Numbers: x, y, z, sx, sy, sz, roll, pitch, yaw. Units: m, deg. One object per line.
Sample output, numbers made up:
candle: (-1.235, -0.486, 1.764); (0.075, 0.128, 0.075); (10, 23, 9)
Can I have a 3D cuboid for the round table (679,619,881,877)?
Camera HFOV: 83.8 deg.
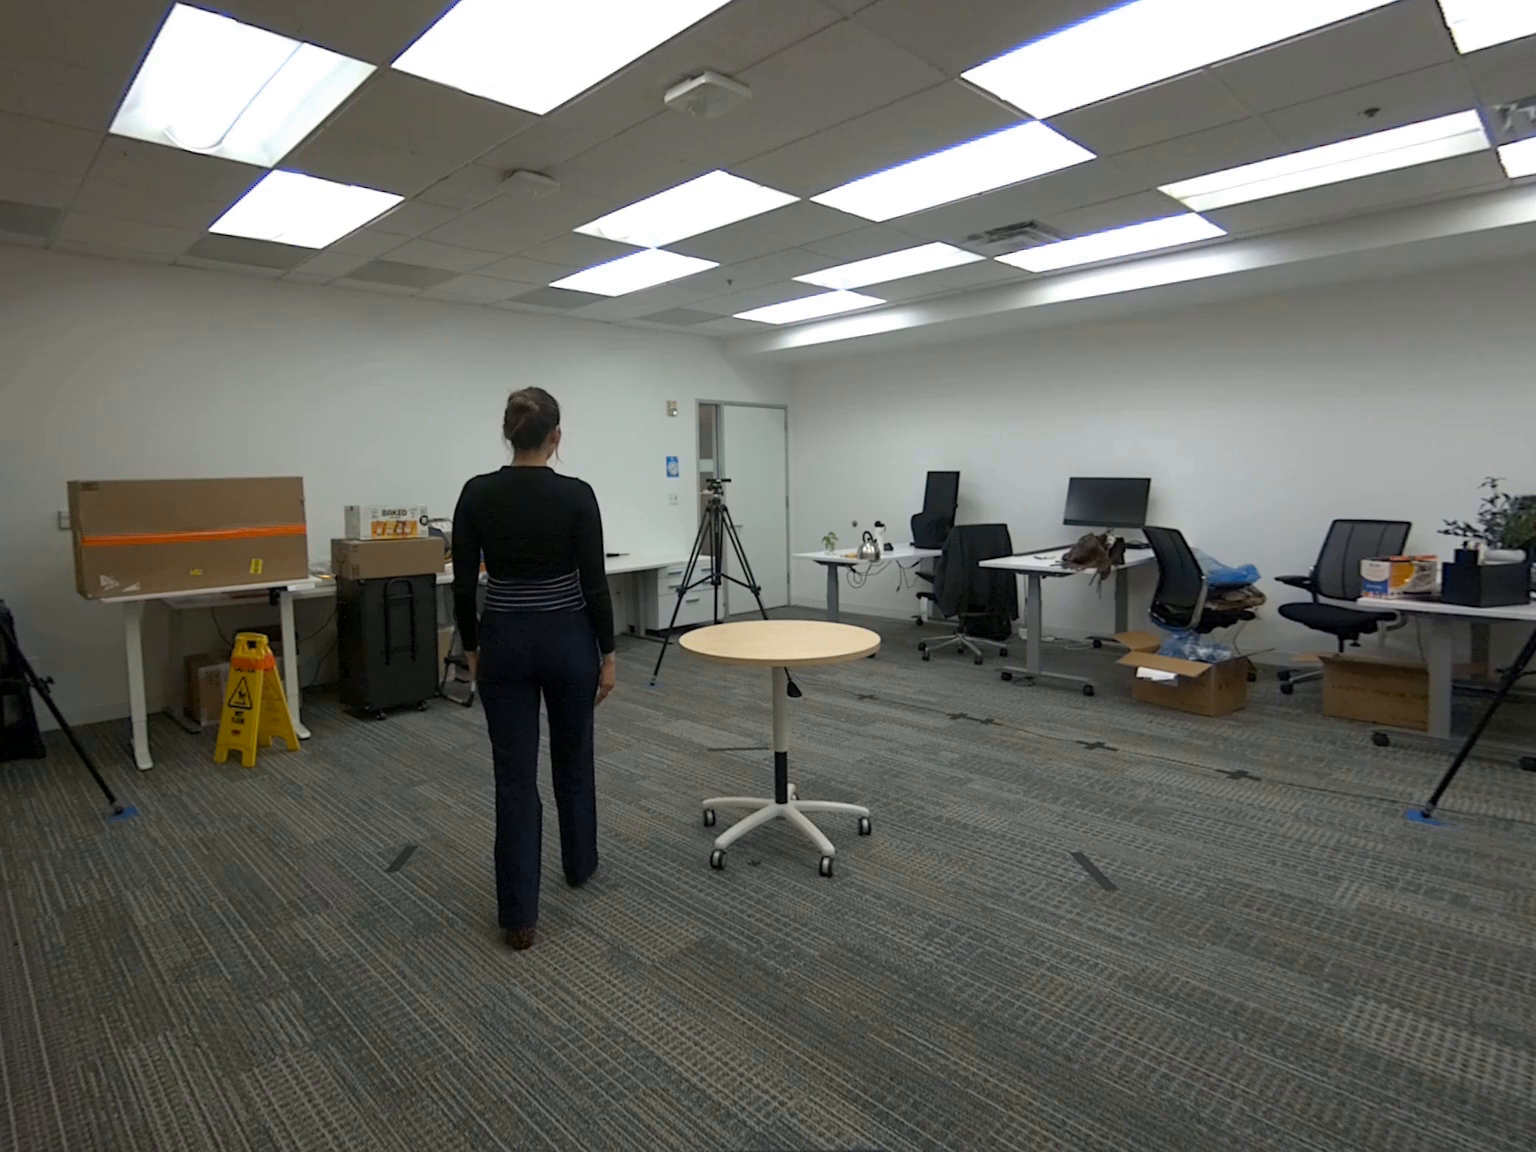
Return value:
round table: (0.049, 0.631, 3.299); (0.763, 0.791, 0.768); (-1, 5, -2)
